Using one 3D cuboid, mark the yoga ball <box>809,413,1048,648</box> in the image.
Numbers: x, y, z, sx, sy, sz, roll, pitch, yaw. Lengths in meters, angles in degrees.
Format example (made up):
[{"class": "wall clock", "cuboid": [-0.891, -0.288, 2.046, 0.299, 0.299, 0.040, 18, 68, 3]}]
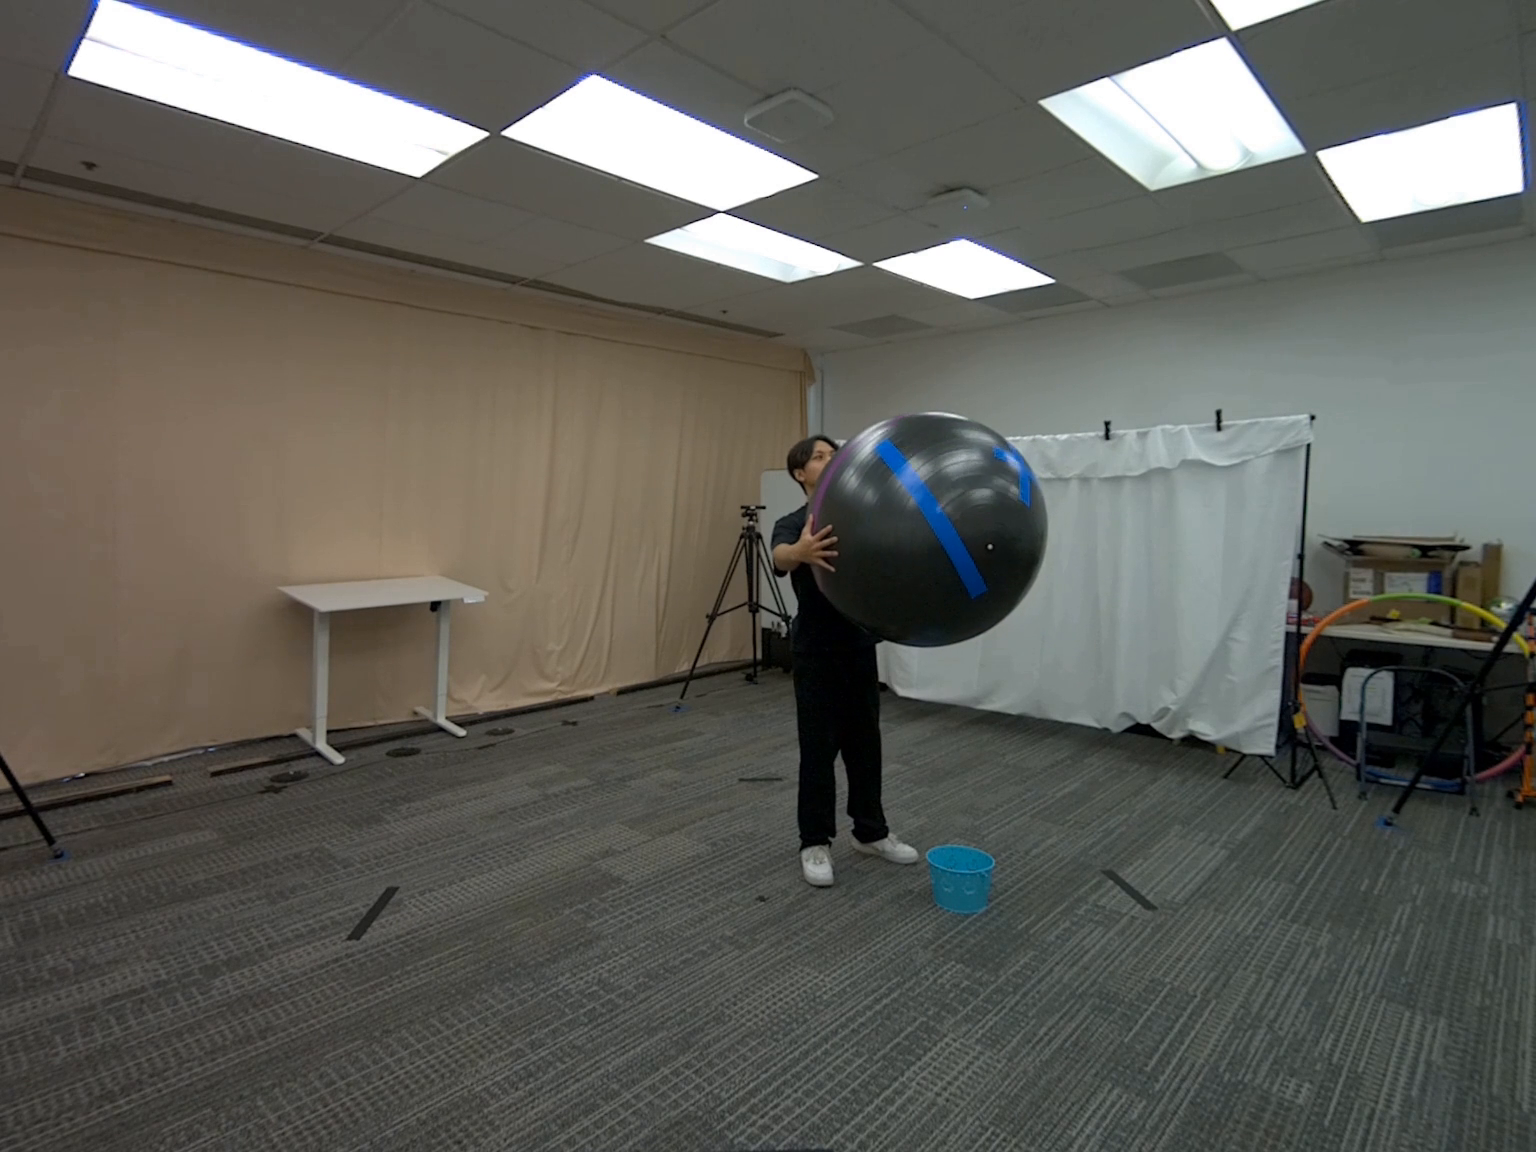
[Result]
[{"class": "yoga ball", "cuboid": [0.510, -0.139, 2.740, 0.757, 0.756, 0.760, 0, 4, -2]}]
